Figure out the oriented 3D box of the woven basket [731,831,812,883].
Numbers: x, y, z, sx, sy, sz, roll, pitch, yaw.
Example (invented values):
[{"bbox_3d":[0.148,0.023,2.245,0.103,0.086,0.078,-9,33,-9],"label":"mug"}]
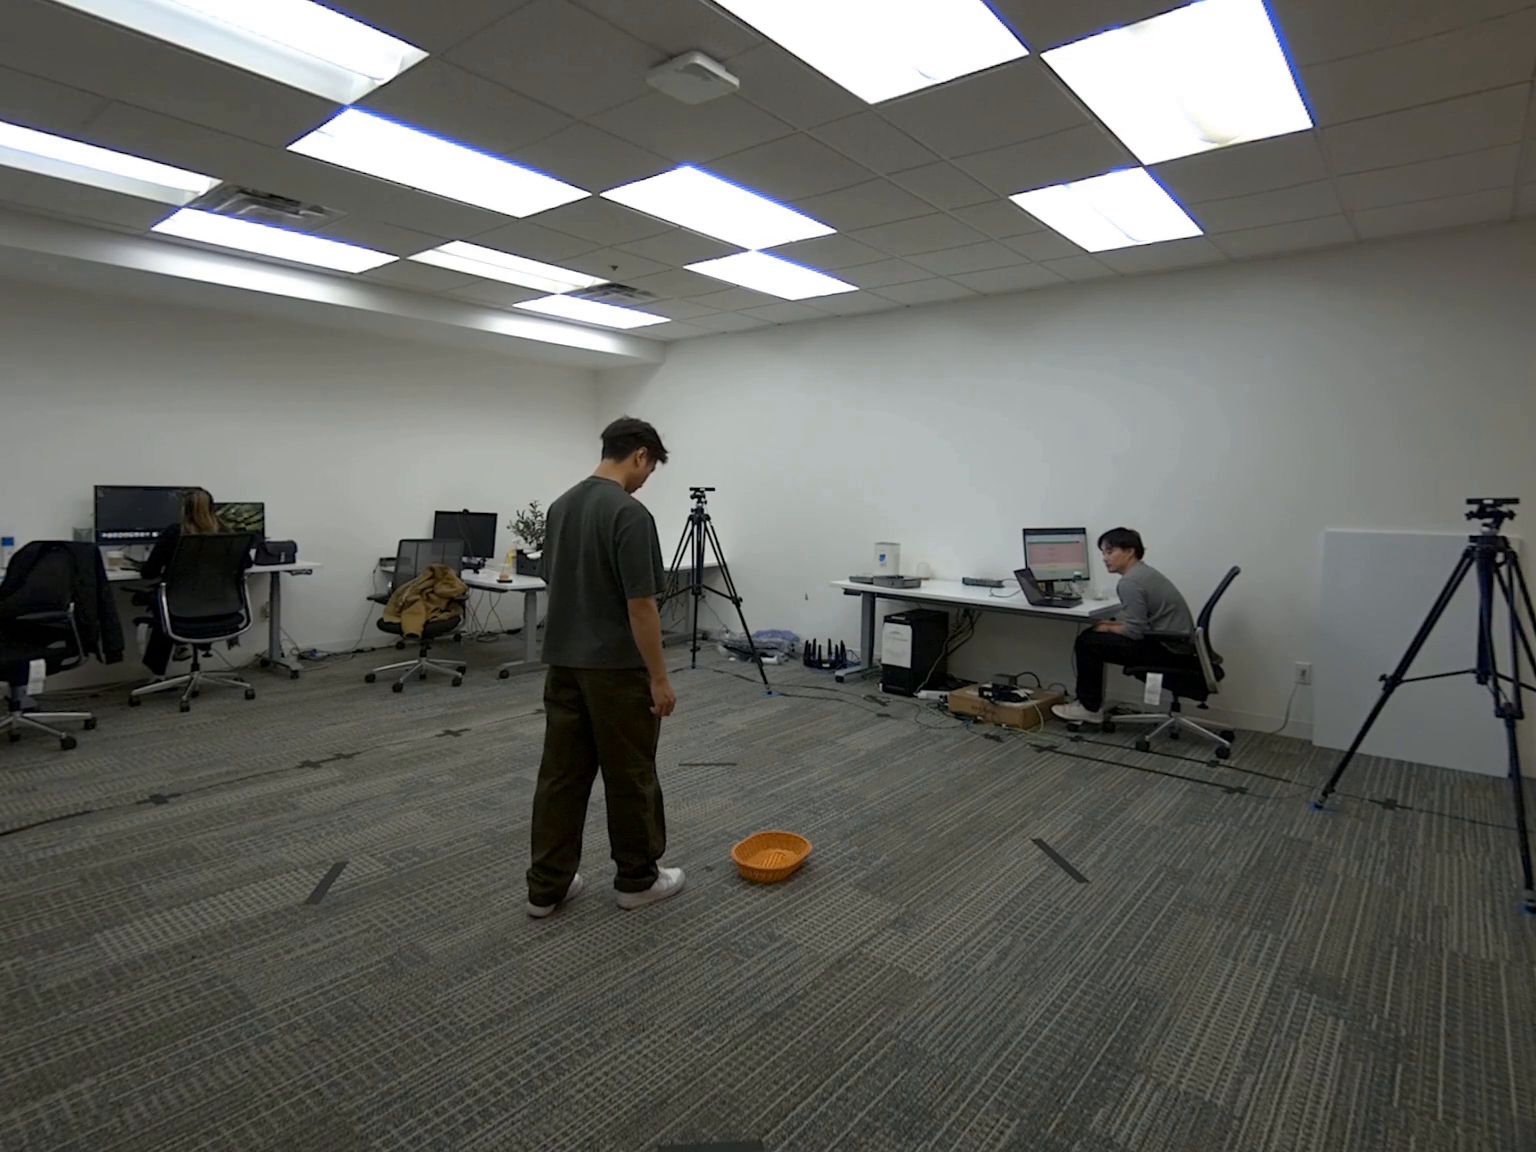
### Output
[{"bbox_3d":[0.005,1.030,3.129,0.260,0.073,0.341,5,7,34],"label":"woven basket"}]
